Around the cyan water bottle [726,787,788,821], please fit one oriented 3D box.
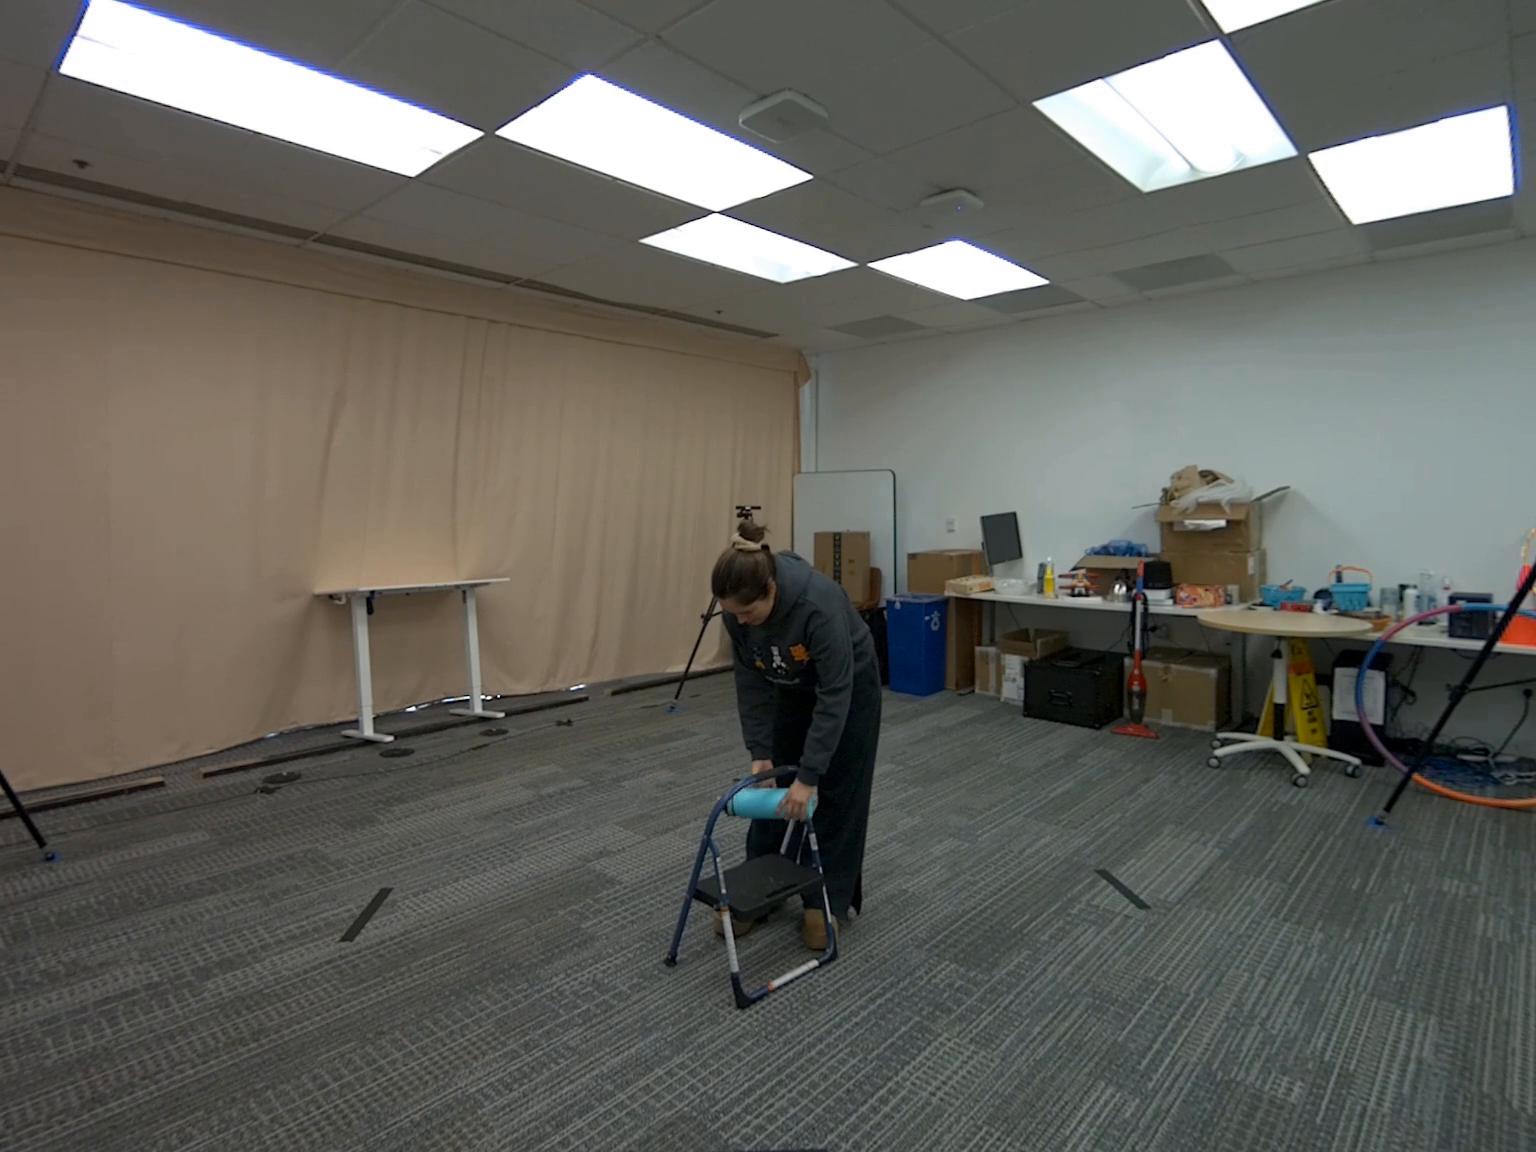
[{"bbox_3d":[0.016,0.693,2.554,0.287,0.092,0.091,-8,2,12],"label":"cyan water bottle"}]
